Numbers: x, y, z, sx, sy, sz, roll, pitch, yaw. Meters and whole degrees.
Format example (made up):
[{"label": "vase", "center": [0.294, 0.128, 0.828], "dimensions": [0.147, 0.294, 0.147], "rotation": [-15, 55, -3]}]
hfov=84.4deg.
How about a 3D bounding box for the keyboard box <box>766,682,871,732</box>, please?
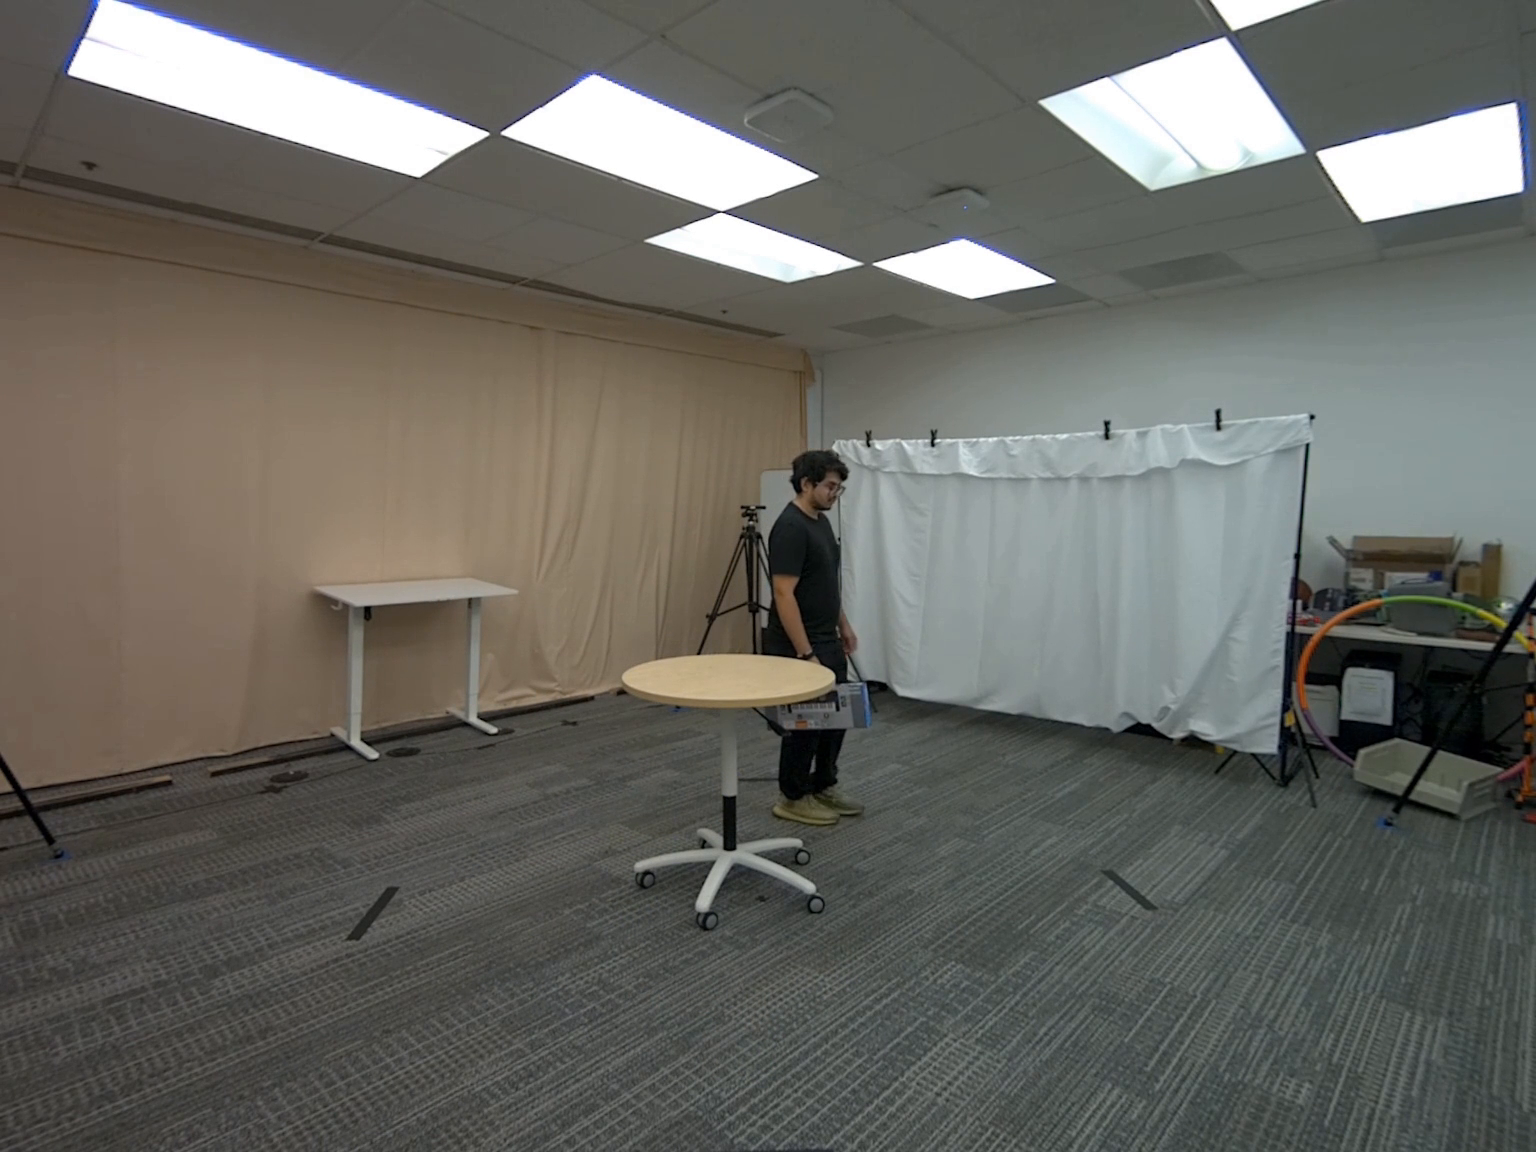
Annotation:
[{"label": "keyboard box", "center": [0.191, 0.536, 3.456], "dimensions": [0.447, 0.176, 0.057], "rotation": [-6, -1, 26]}]
